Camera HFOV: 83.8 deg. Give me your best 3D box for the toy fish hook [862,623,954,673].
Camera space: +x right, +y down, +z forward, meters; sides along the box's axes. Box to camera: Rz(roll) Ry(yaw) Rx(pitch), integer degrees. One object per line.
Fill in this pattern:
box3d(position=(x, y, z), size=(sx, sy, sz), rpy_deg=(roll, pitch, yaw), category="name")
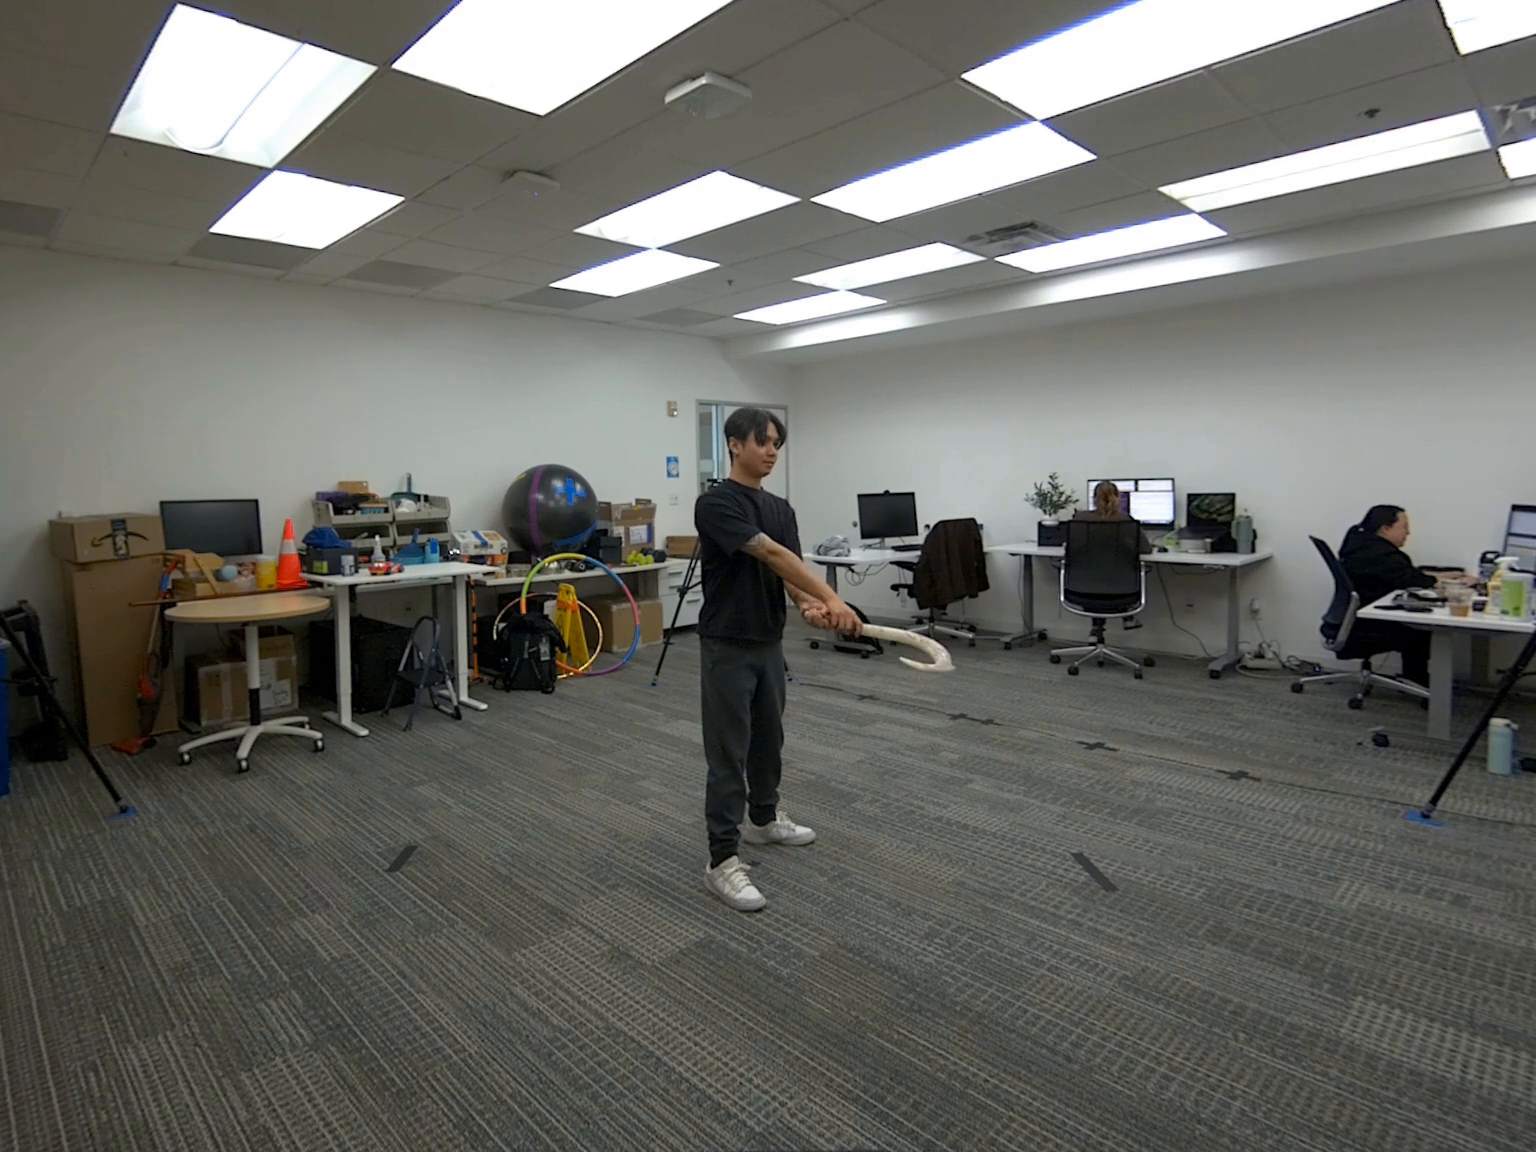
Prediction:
box3d(position=(0.348, 0.205, 2.732), size=(0.503, 0.048, 0.229), rpy_deg=(14, 18, -7), category="toy fish hook")
